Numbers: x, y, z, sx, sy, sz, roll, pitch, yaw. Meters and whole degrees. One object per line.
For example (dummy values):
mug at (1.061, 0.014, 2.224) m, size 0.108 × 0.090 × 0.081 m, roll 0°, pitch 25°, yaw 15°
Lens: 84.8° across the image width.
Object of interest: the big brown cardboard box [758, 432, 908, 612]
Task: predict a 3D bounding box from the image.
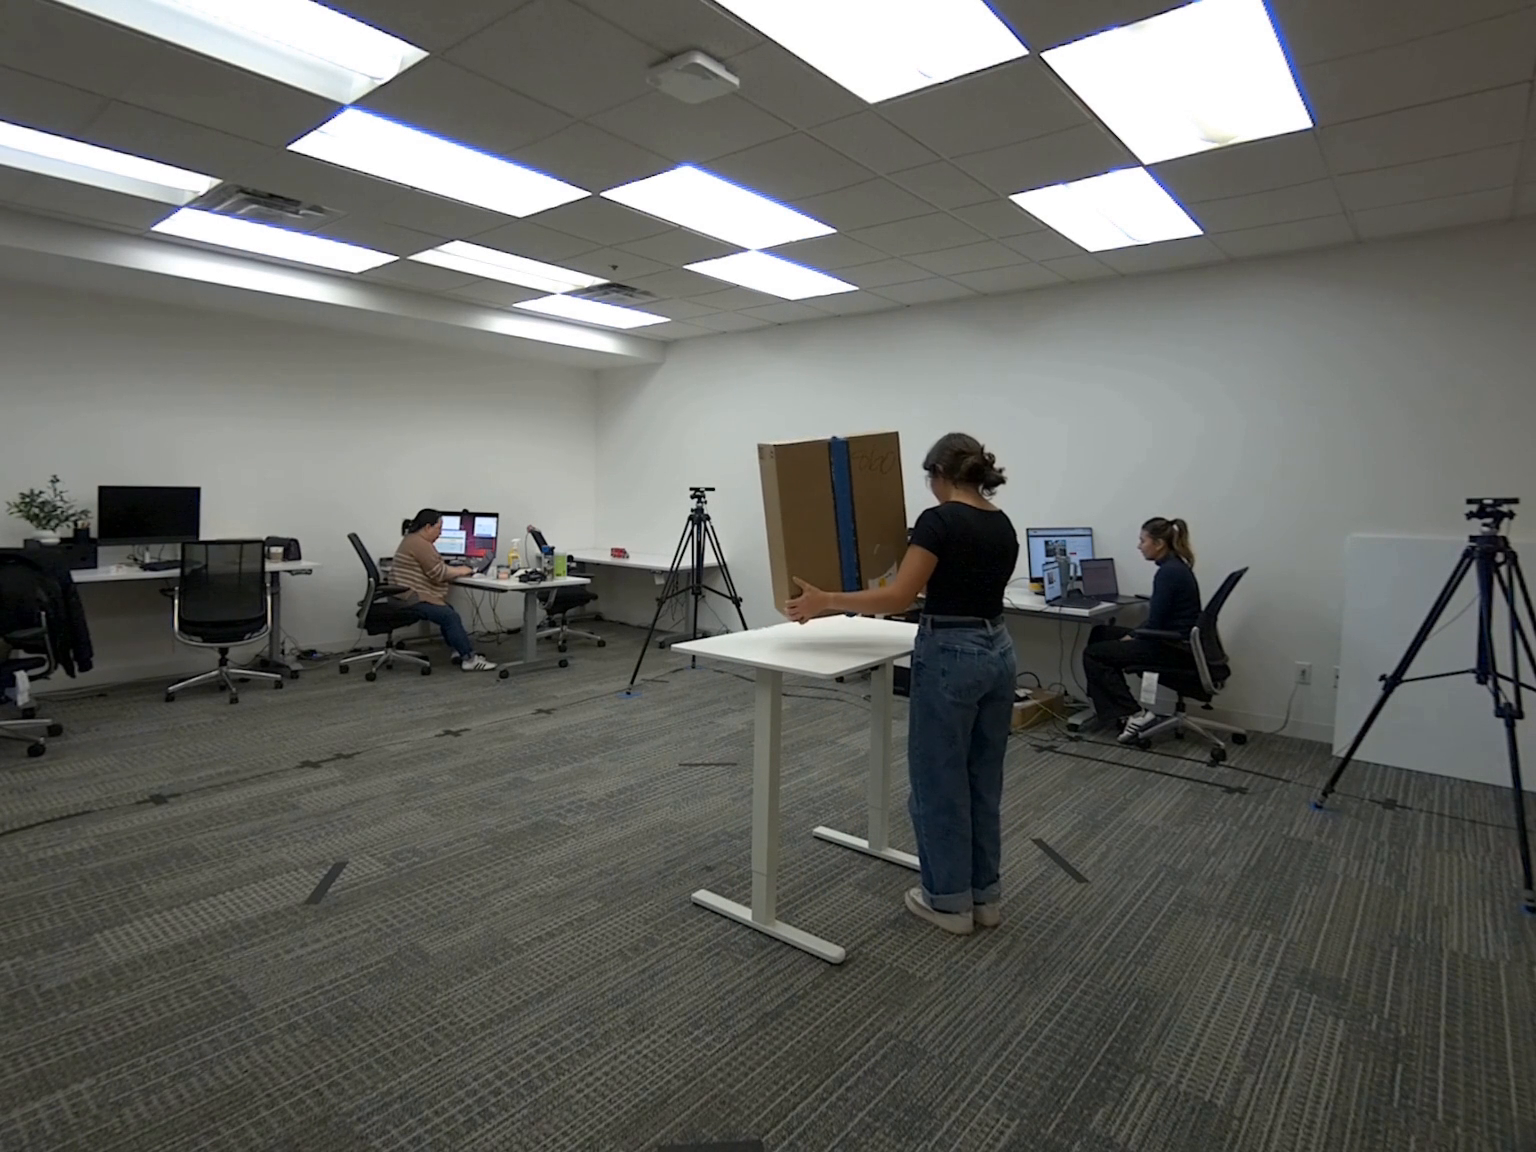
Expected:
big brown cardboard box at (0.213, -0.172, 2.793) m, size 0.413 × 0.584 × 0.237 m, roll -7°, pitch 8°, yaw -11°
